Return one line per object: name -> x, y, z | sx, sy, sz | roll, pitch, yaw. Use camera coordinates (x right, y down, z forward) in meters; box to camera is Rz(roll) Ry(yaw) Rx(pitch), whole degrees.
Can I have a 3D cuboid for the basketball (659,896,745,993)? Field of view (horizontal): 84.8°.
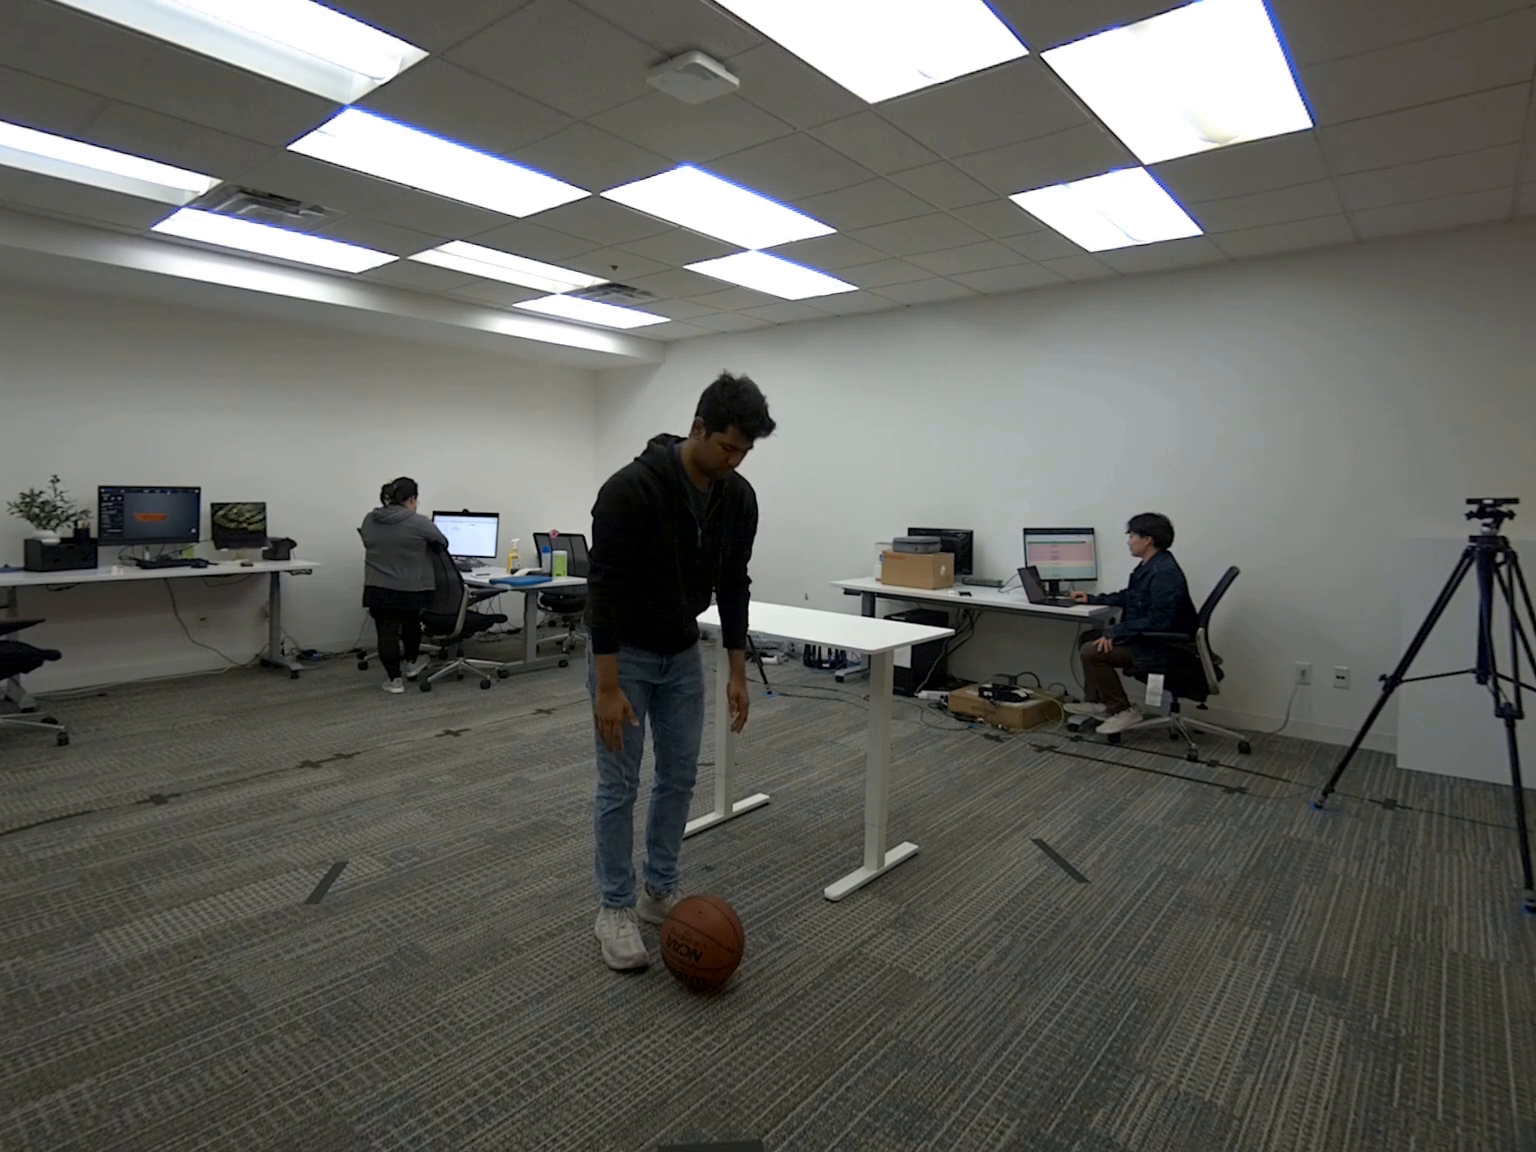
basketball -> -0.186, 1.014, 2.389 | 0.235, 0.235, 0.237 | 1, 4, -2
